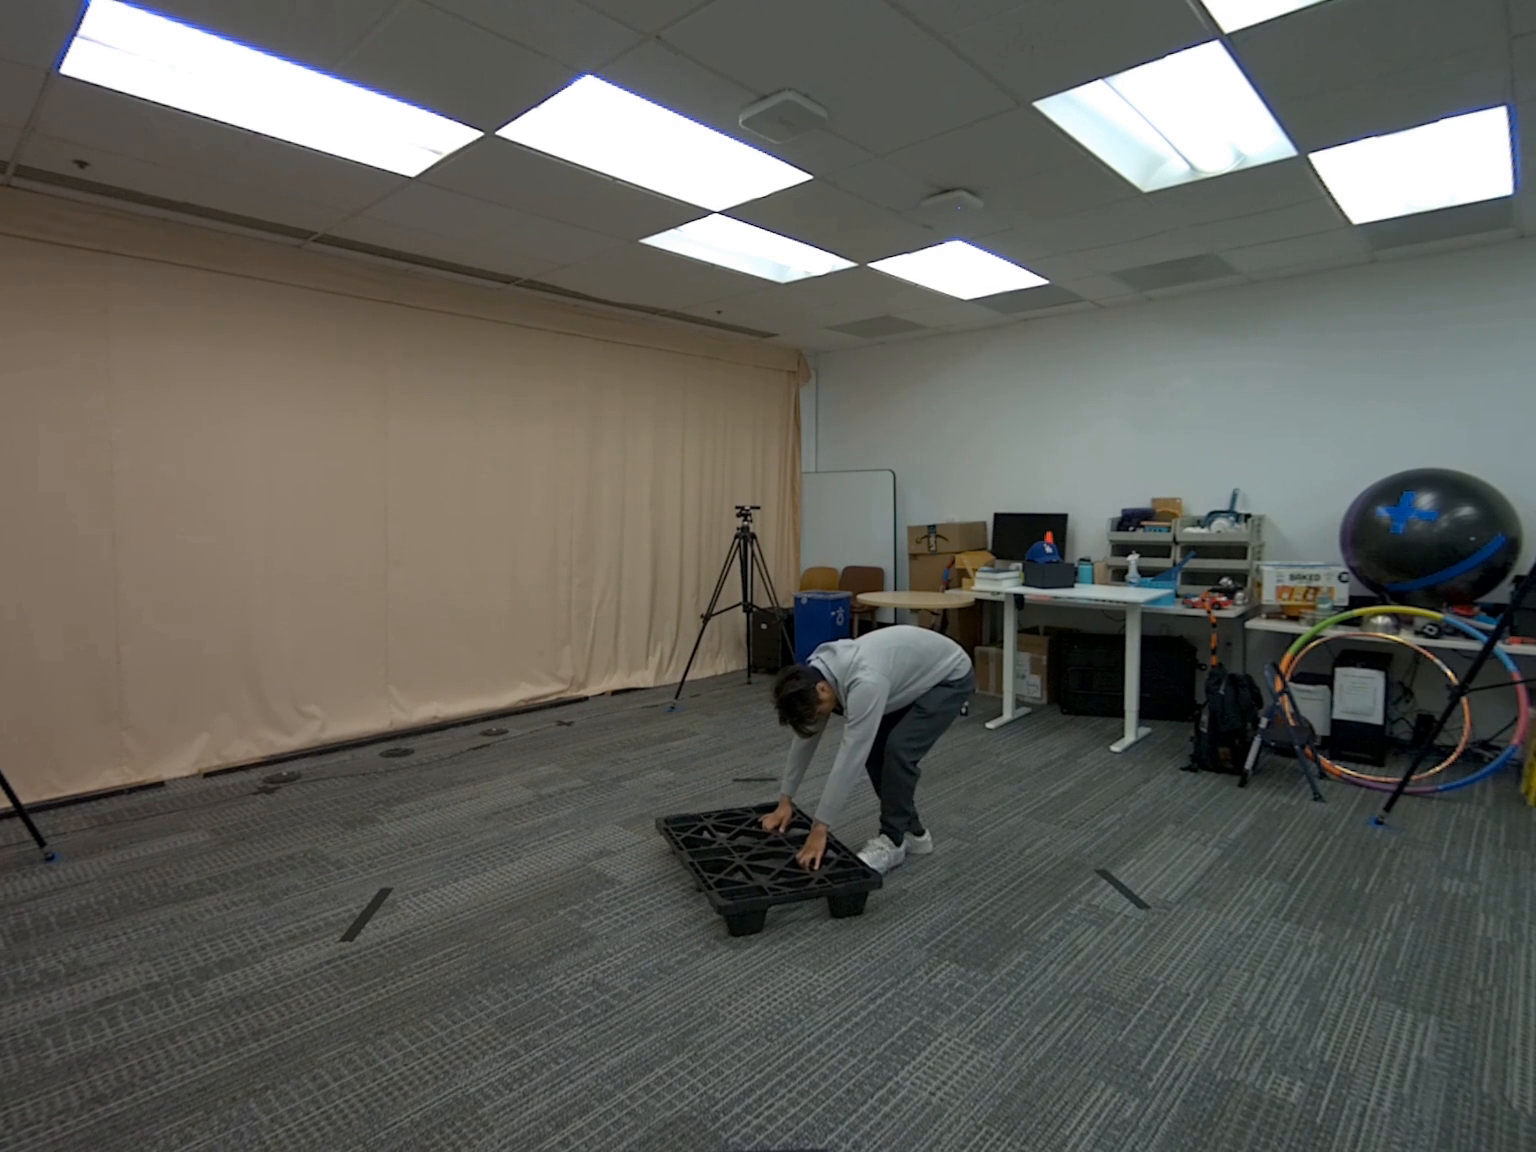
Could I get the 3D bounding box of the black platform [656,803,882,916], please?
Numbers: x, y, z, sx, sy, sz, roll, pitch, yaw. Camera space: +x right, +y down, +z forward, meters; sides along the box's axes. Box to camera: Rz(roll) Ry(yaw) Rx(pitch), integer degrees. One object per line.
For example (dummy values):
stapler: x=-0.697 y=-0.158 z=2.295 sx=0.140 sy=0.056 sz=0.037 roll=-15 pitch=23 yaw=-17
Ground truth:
black platform: x=-0.028 y=1.061 z=3.133 sx=0.593 sy=0.143 sz=0.824 roll=-1 pitch=5 yaw=-21
